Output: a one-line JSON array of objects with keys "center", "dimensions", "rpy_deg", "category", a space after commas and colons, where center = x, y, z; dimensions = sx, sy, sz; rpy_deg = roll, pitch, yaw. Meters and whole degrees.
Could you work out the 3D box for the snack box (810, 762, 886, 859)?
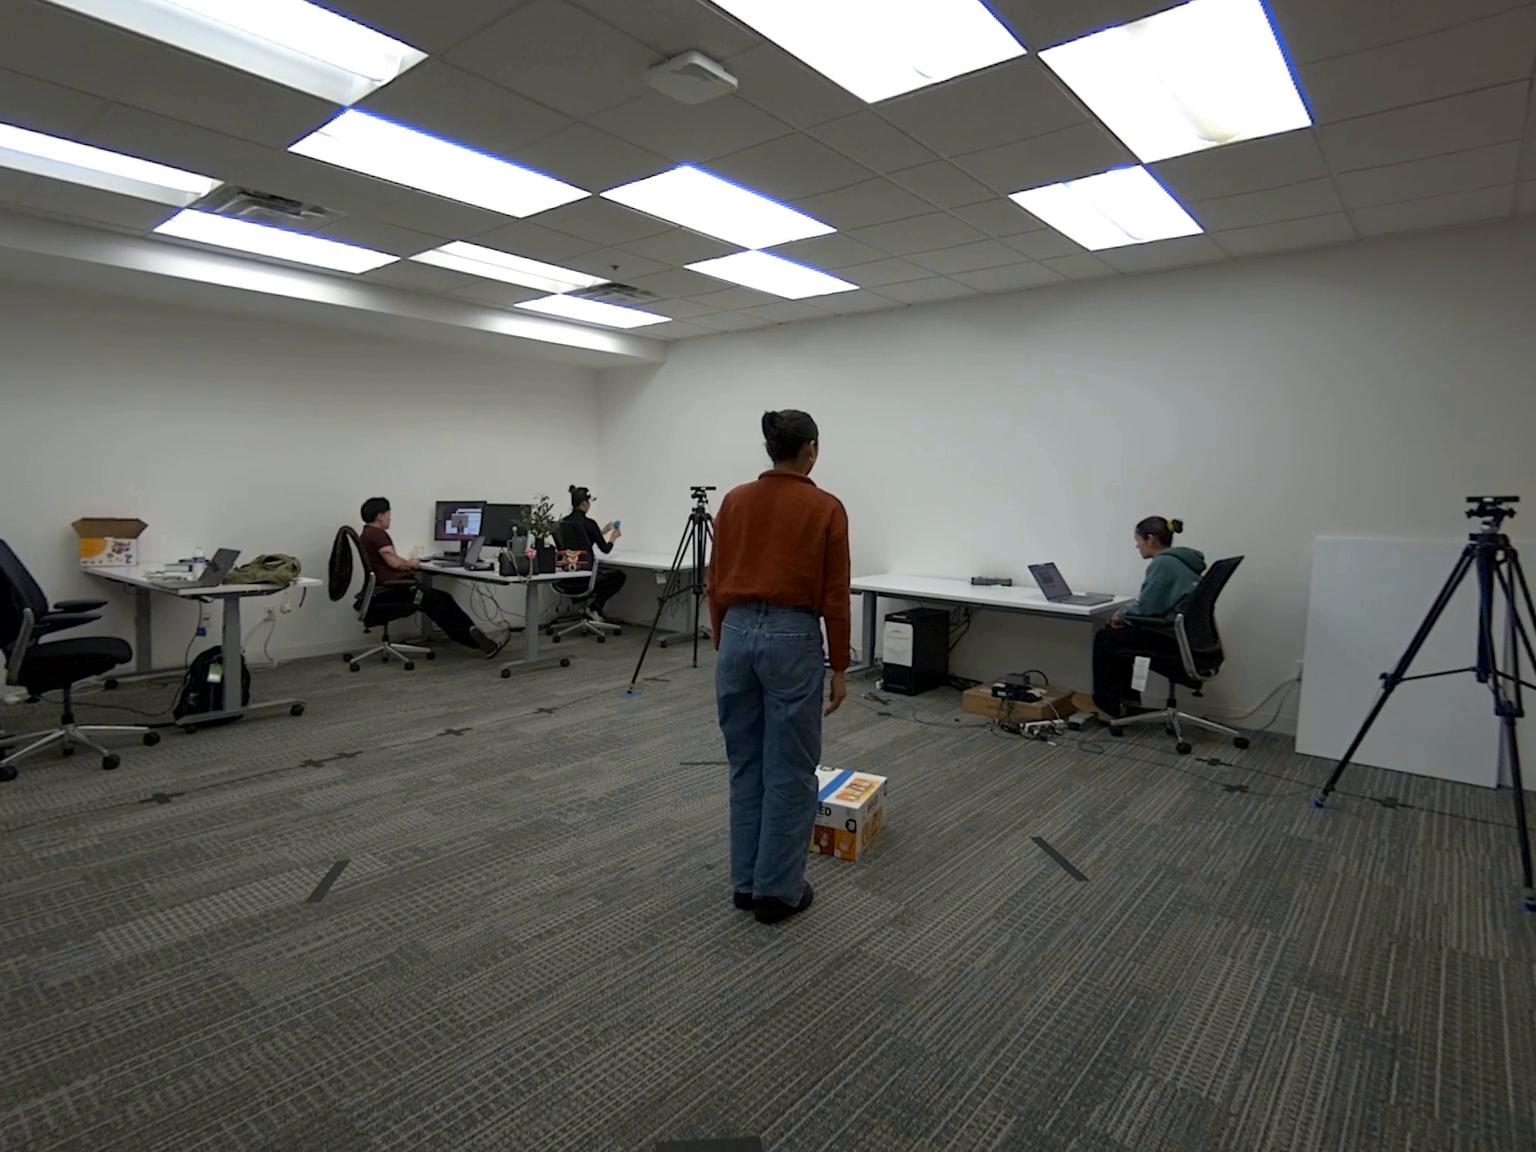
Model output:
[{"center": [0.252, 0.935, 3.430], "dimensions": [0.349, 0.205, 0.396], "rpy_deg": [4, 6, 25], "category": "snack box"}]
